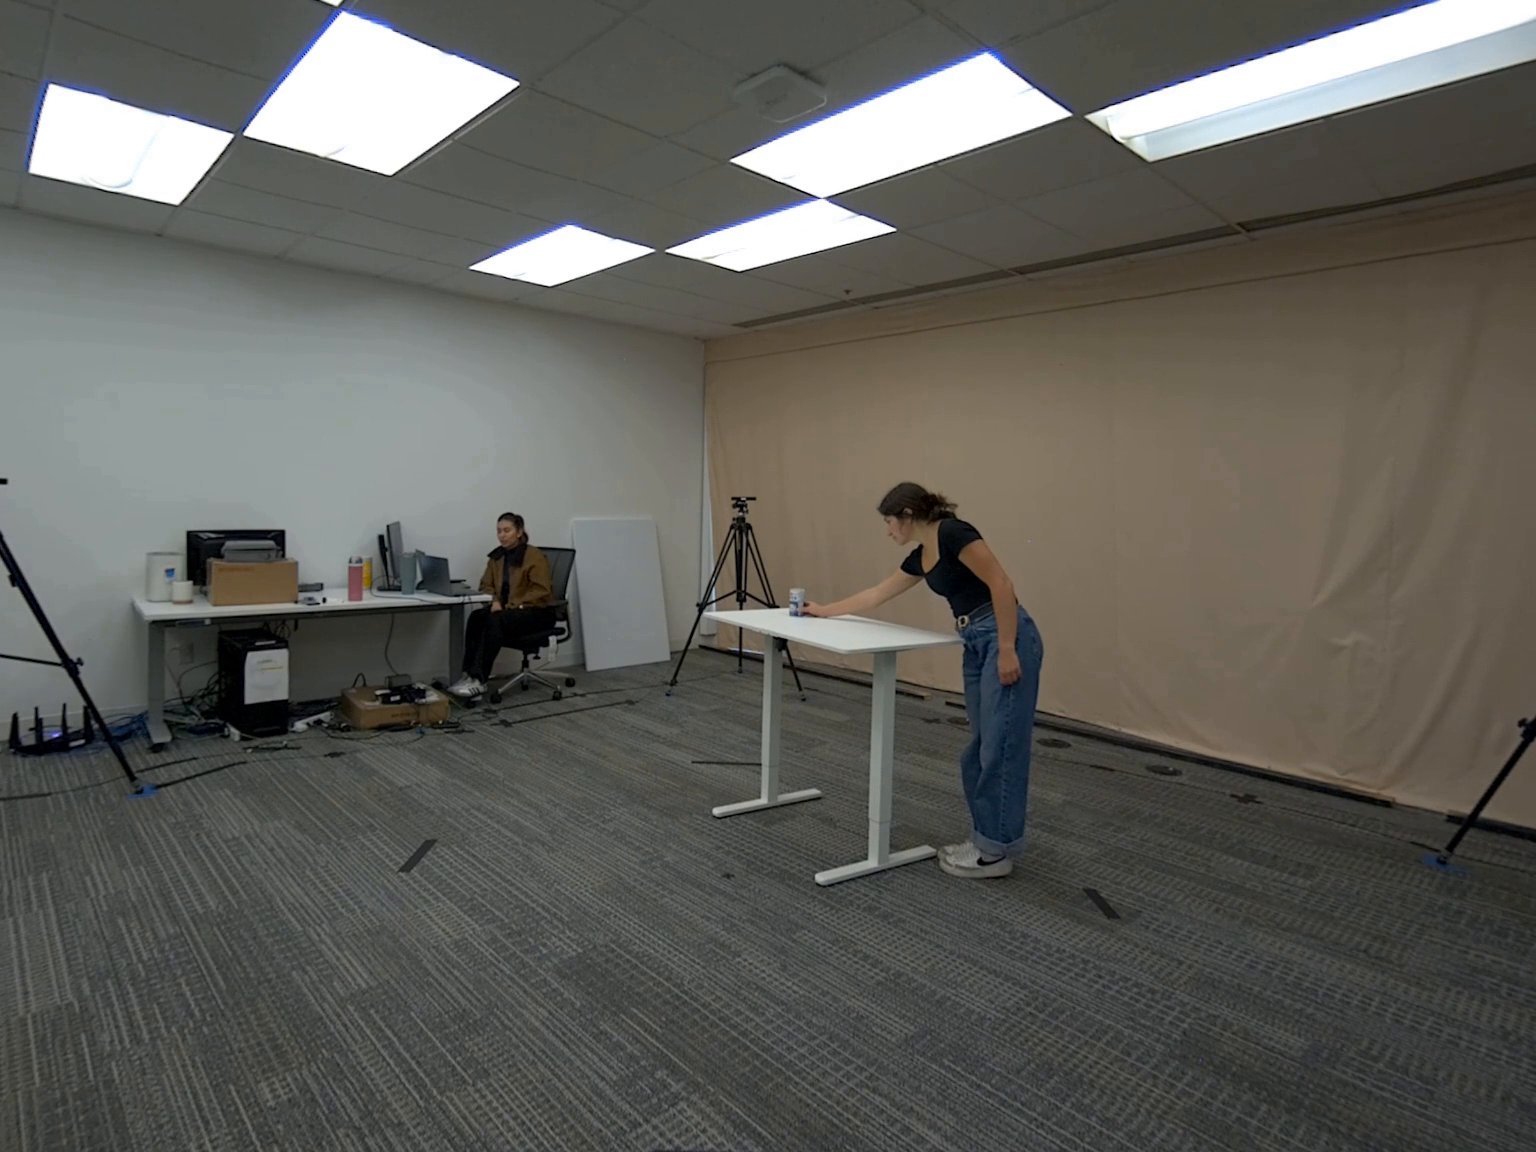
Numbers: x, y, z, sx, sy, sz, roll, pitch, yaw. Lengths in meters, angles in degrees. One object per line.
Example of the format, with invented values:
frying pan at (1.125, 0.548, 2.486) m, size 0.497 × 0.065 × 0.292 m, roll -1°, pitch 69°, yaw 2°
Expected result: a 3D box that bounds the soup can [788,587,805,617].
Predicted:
soup can at (0.113, 0.112, 3.726) m, size 0.067 × 0.121 × 0.067 m, roll 2°, pitch 5°, yaw -2°
